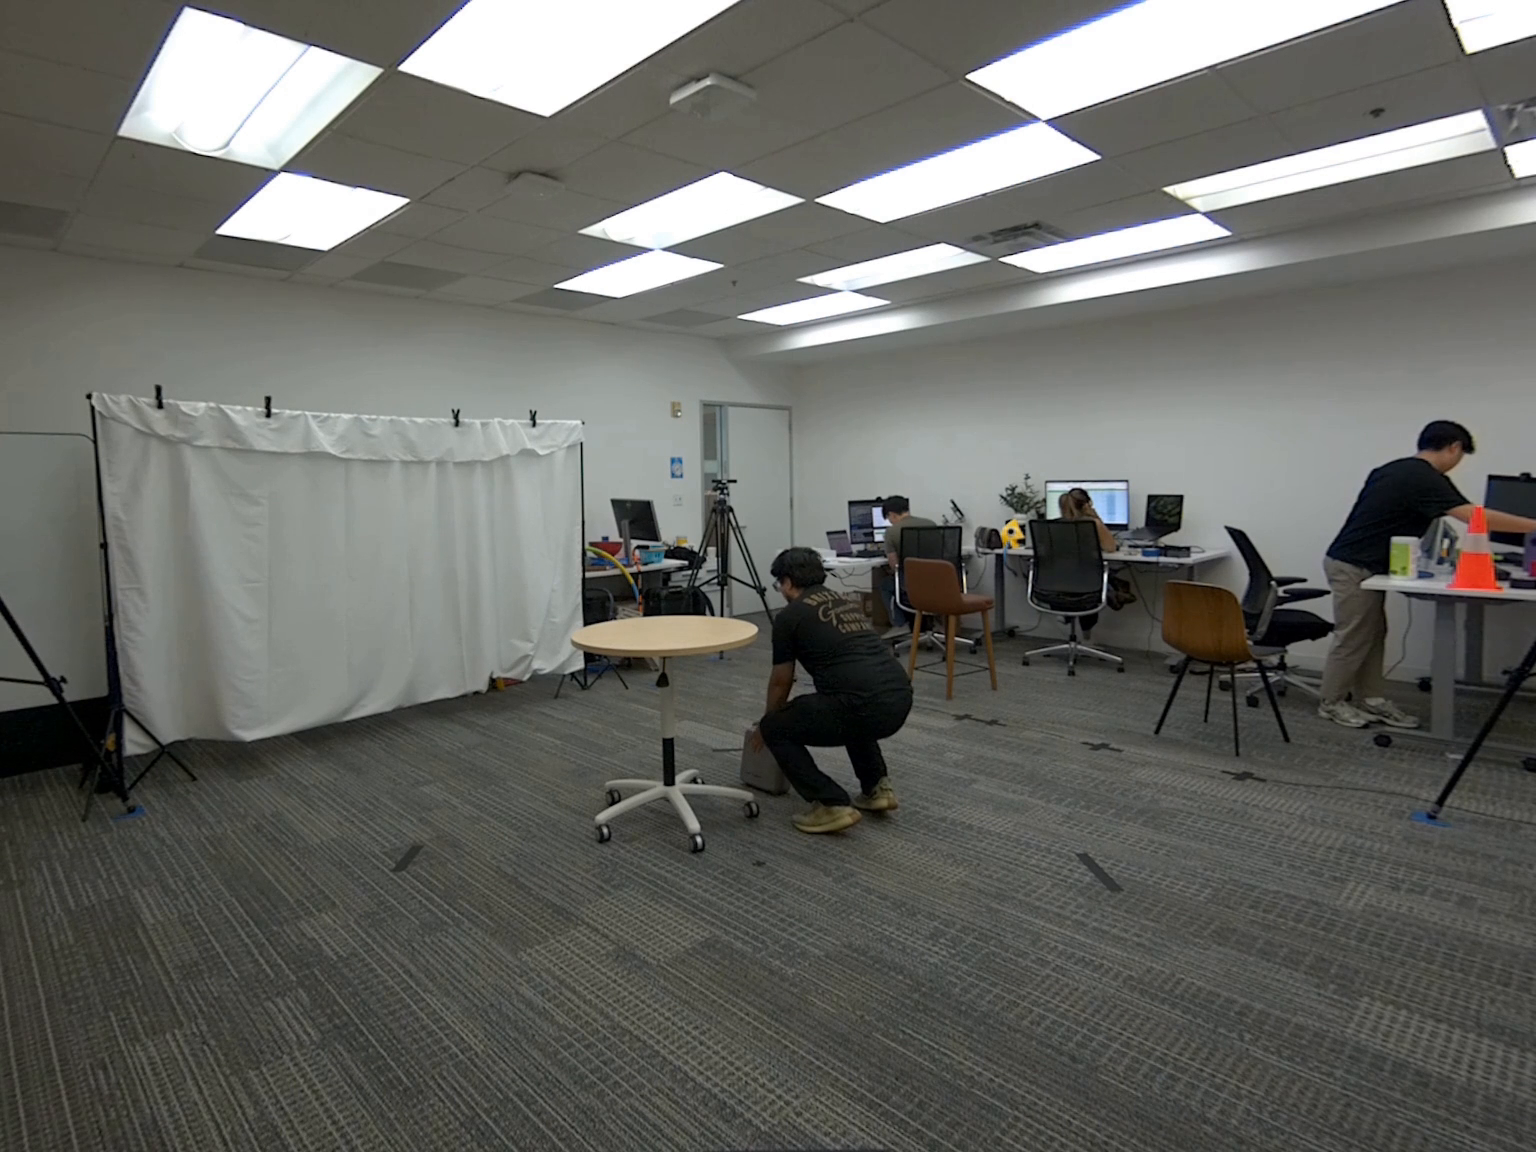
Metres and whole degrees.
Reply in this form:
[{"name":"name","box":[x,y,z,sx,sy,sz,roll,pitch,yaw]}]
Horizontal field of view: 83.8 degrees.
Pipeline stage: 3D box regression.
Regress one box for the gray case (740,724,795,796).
[{"name":"gray case","box":[0.003,0.828,3.895,0.101,0.261,0.264,7,-3,-40]}]
